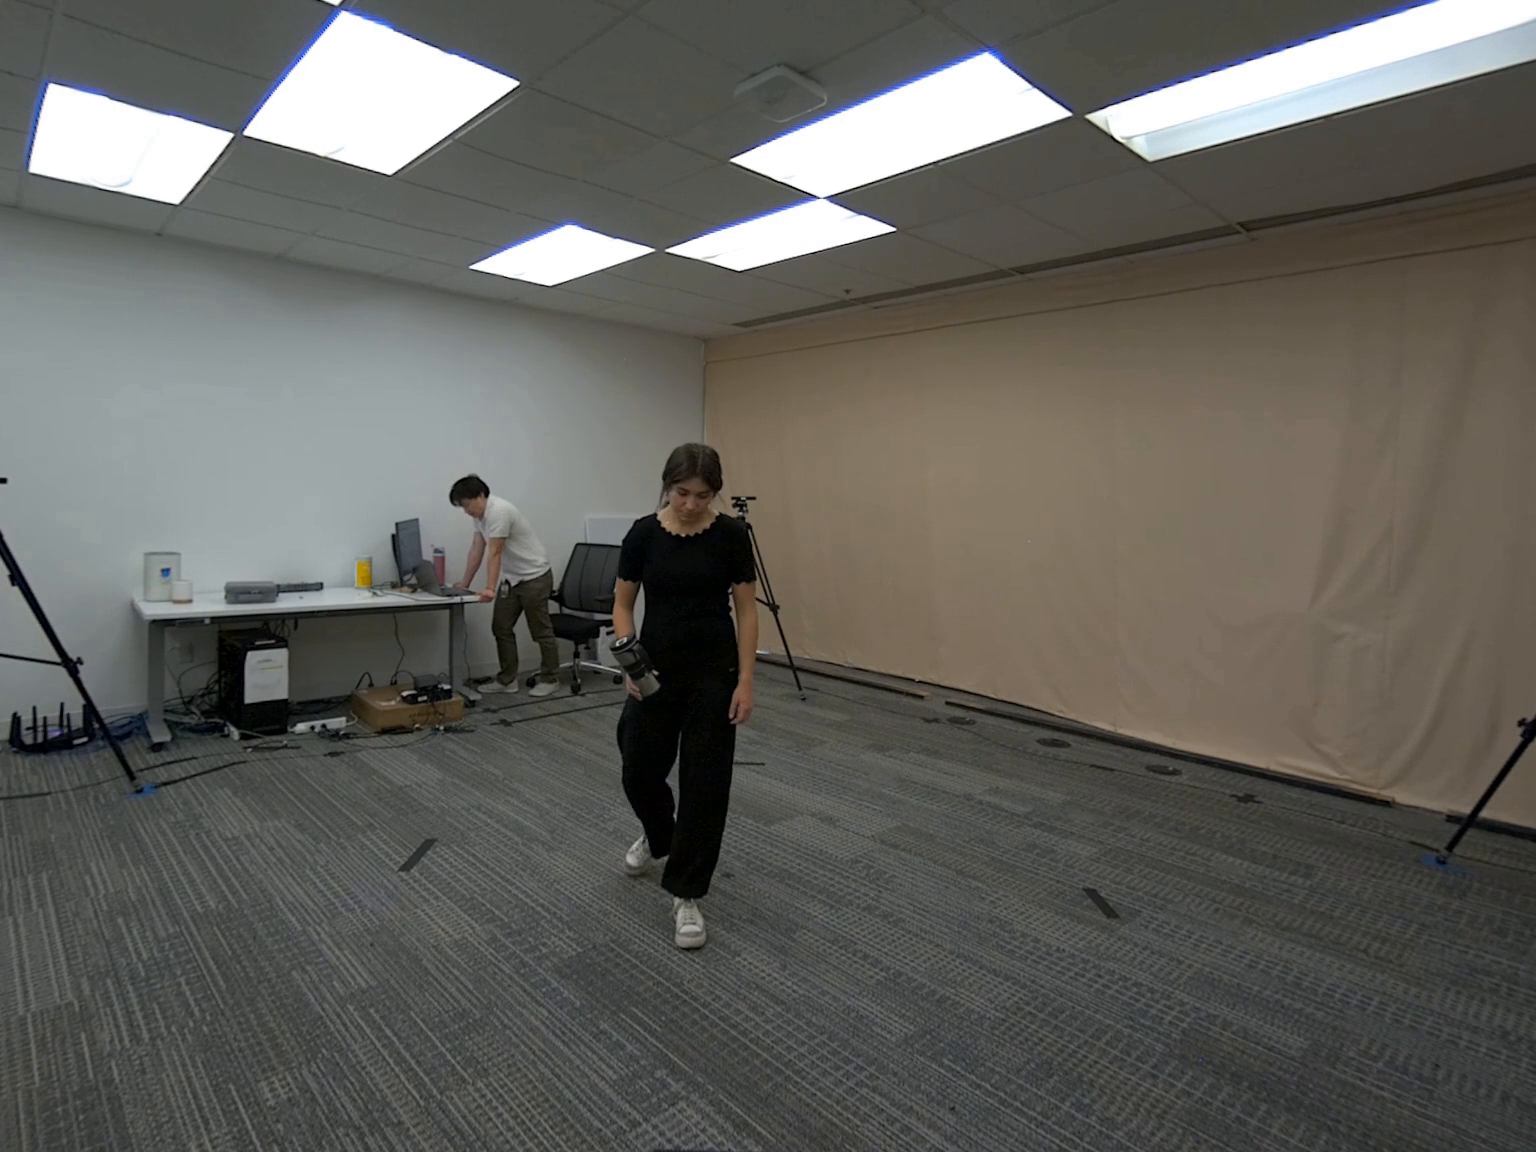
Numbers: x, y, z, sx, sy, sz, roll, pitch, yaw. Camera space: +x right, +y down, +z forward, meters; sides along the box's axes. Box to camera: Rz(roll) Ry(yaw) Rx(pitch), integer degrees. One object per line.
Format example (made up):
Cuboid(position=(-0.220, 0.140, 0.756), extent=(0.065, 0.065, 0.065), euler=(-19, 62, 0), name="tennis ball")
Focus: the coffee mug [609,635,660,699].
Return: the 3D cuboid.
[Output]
Cuboid(position=(-0.410, 0.282, 2.542), extent=(0.087, 0.200, 0.124), euler=(-31, 17, -23), name="coffee mug")
